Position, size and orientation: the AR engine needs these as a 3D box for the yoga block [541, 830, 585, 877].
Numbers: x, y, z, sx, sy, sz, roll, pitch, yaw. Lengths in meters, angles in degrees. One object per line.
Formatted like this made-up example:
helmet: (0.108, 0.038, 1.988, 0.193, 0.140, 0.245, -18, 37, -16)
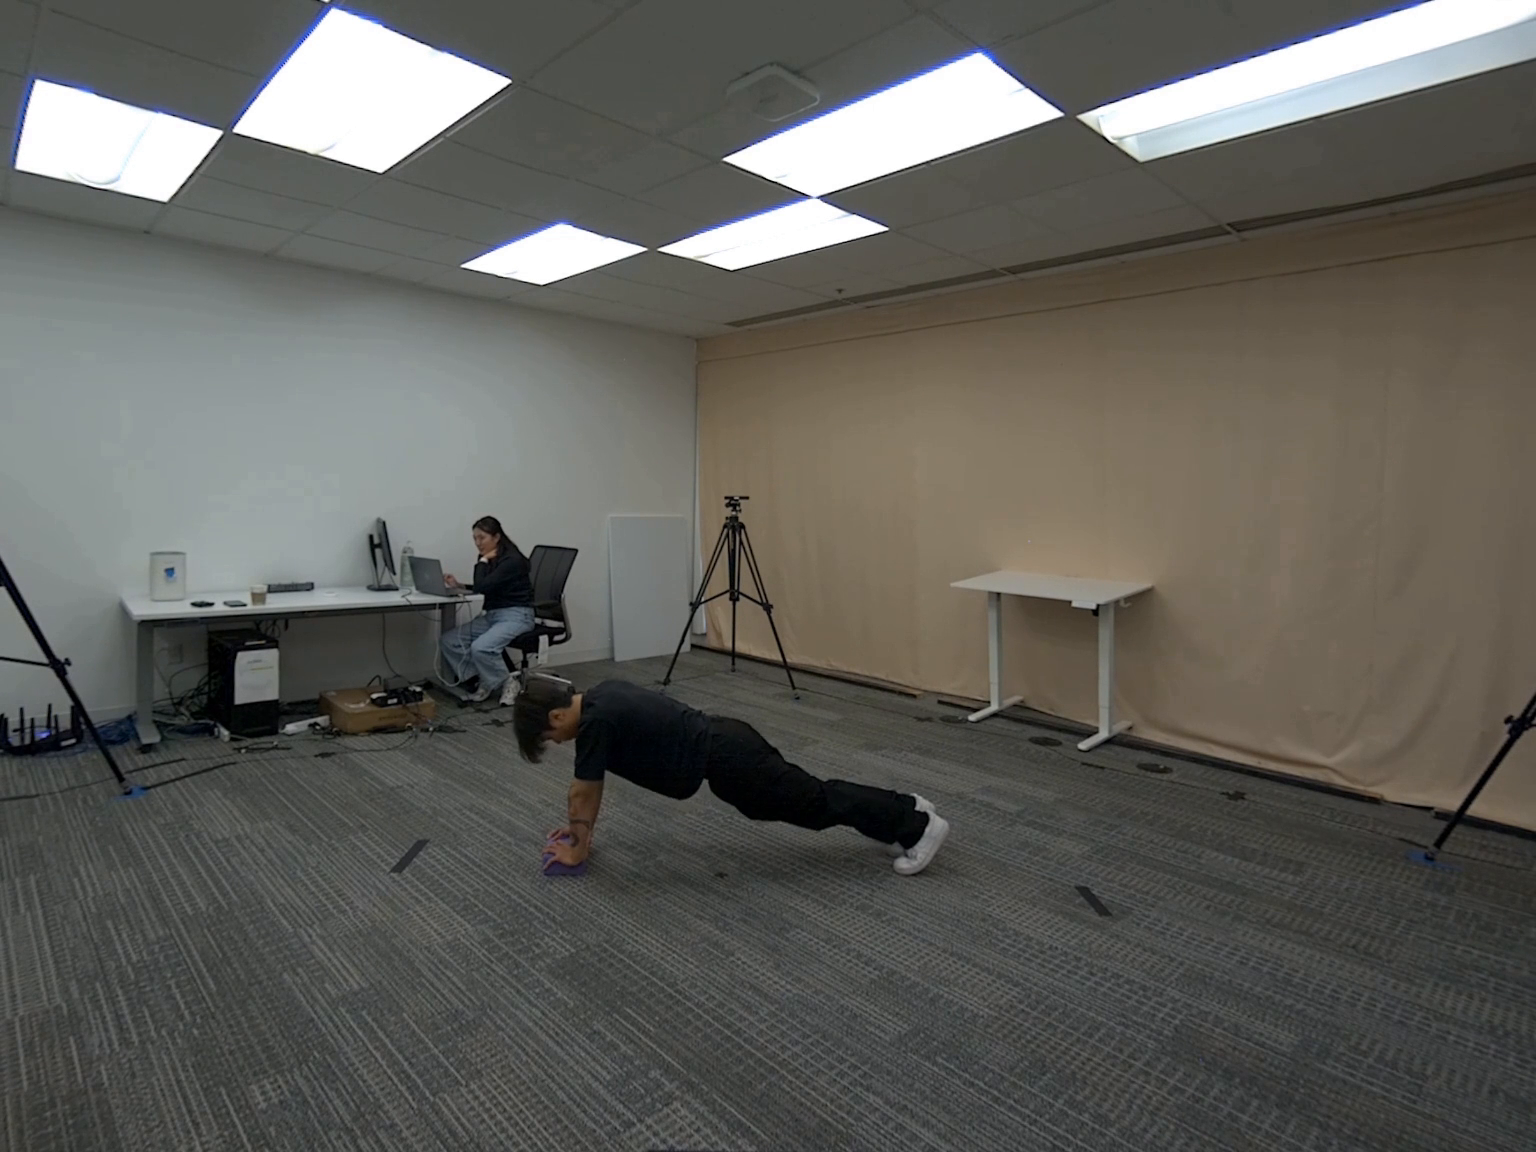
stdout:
yoga block: (-0.764, 1.043, 3.178, 0.148, 0.076, 0.231, 1, 6, -8)
